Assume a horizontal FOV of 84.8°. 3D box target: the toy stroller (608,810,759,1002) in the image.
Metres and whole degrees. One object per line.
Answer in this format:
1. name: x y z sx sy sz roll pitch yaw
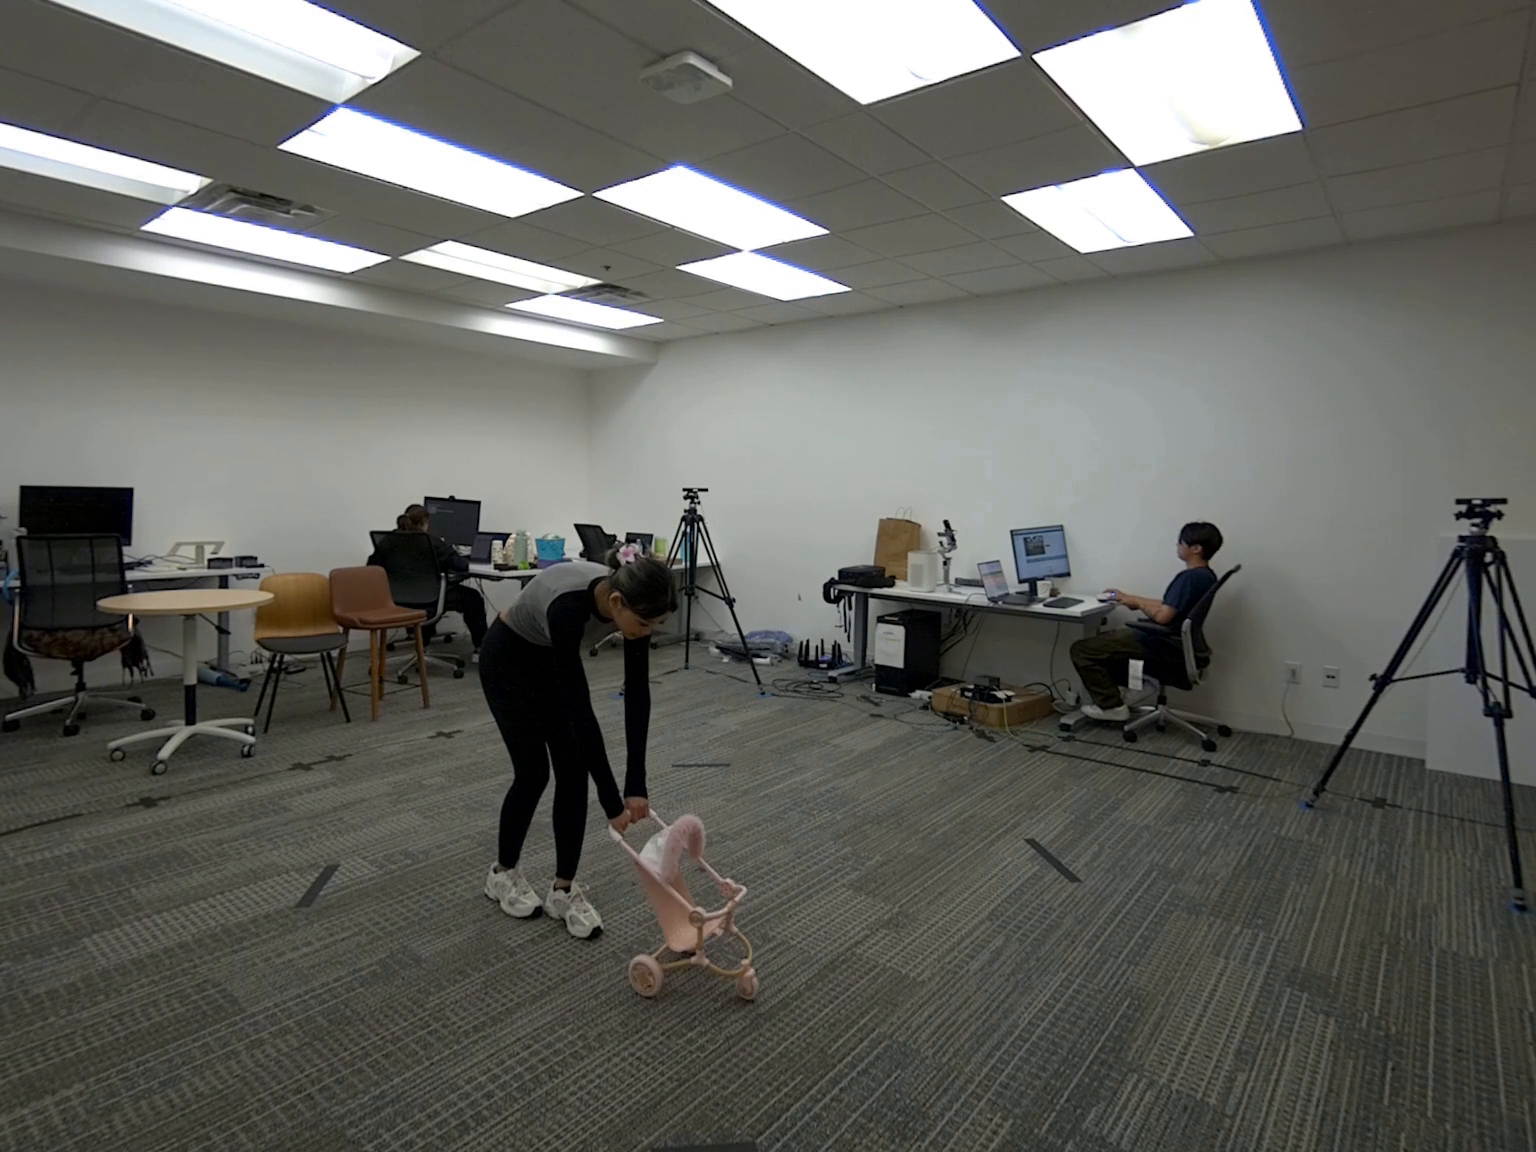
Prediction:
1. toy stroller: -0.234 0.912 2.395 0.348 0.538 0.274 -14 -4 29
